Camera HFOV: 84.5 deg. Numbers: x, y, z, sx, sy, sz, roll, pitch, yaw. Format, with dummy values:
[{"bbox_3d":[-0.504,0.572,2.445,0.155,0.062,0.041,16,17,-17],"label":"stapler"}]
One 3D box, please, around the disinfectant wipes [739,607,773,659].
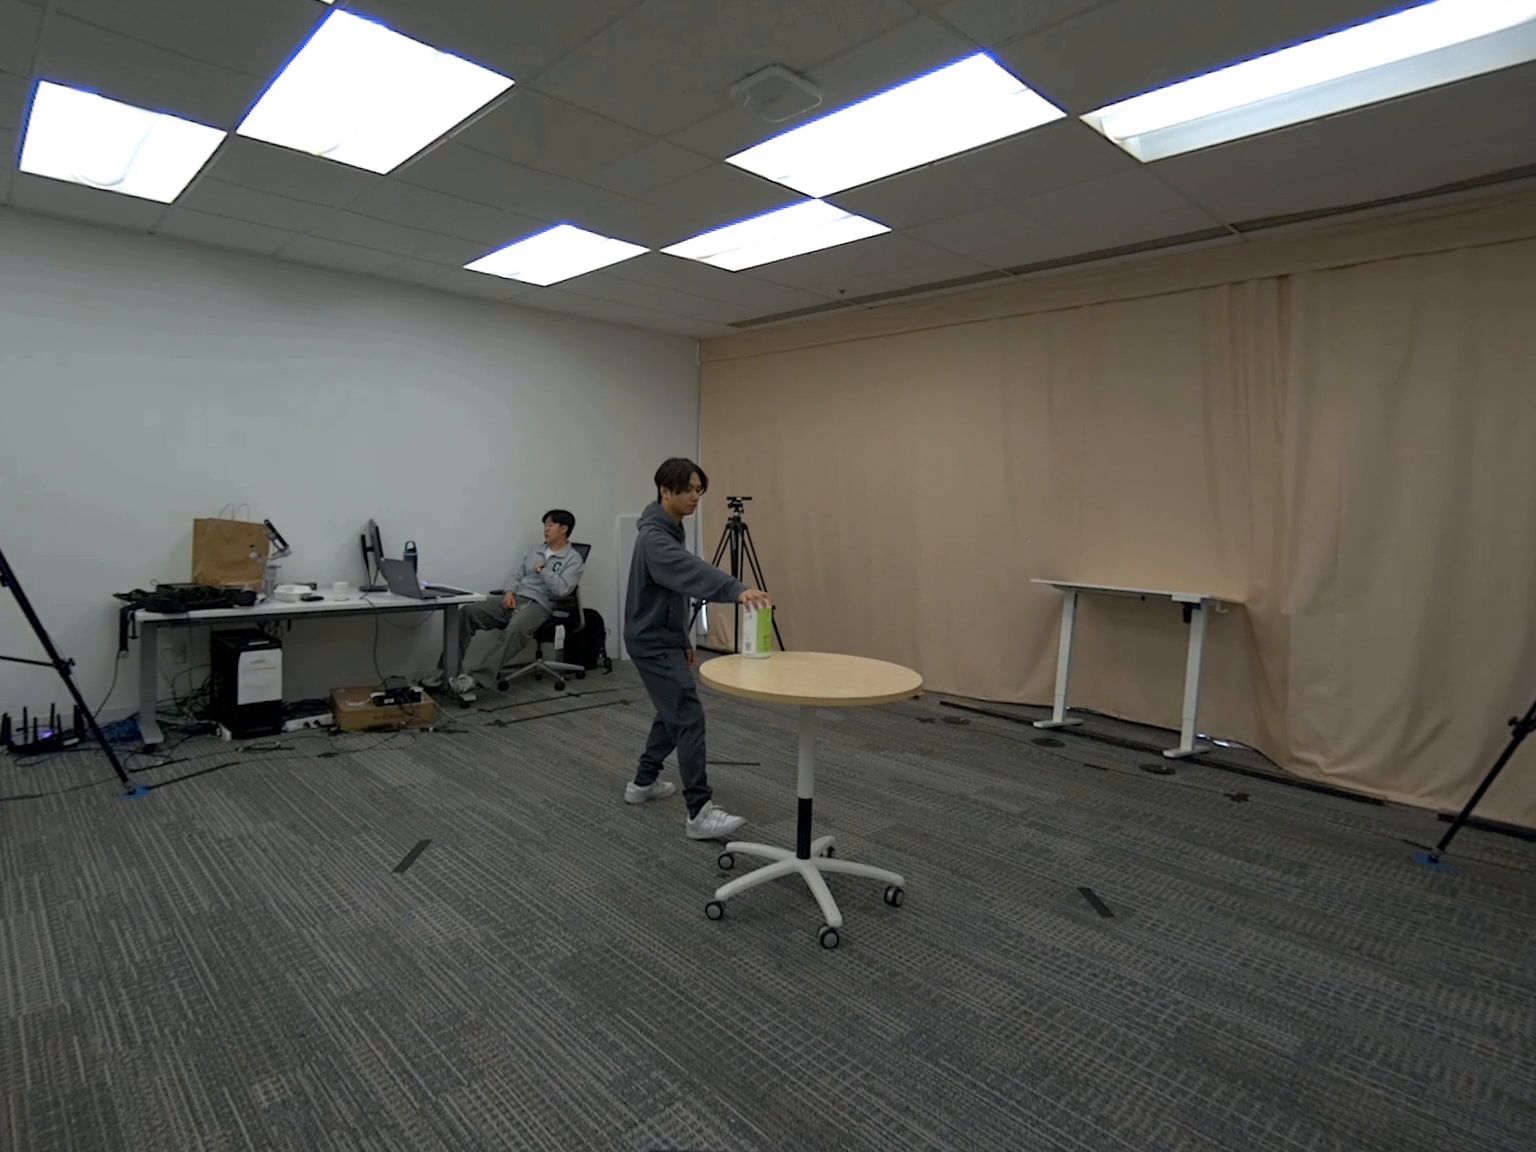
[{"bbox_3d":[-0.049,0.198,3.167,0.118,0.217,0.118,0,0,-1],"label":"disinfectant wipes"}]
